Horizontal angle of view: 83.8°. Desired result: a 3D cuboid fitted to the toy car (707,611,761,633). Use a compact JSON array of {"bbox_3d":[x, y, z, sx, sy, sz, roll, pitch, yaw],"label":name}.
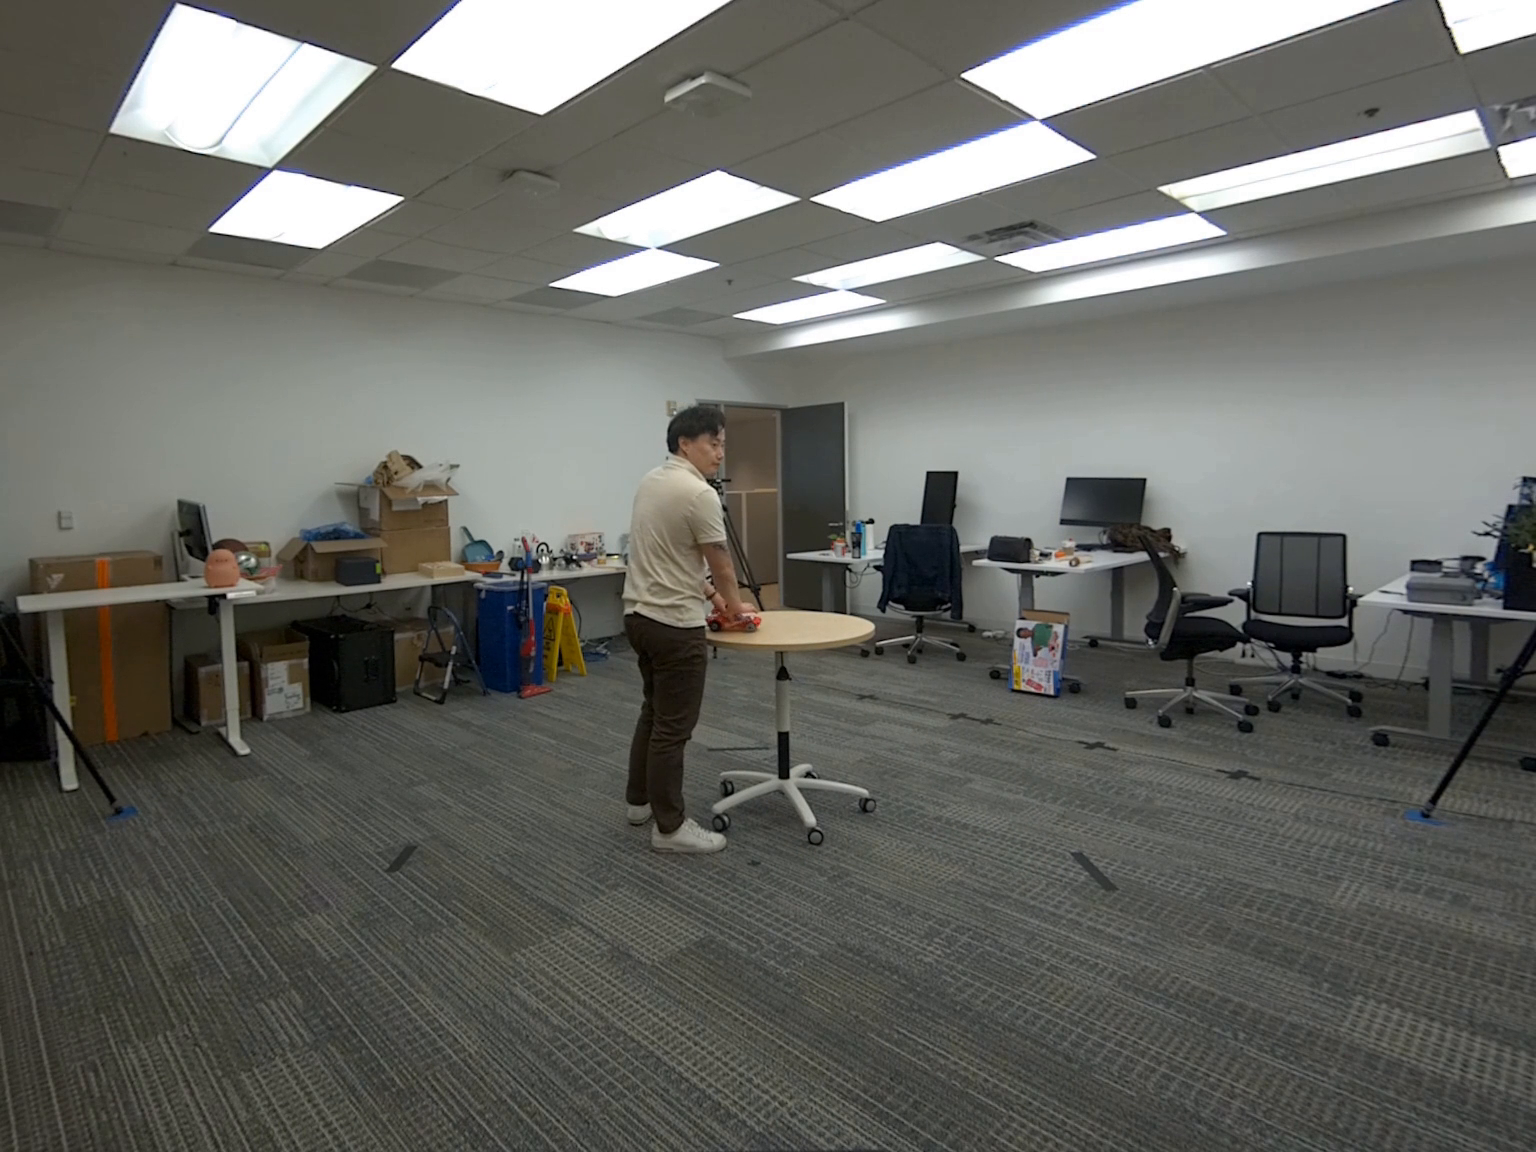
[{"bbox_3d":[-0.151,0.192,3.488,0.258,0.083,0.129,11,8,11],"label":"toy car"}]
